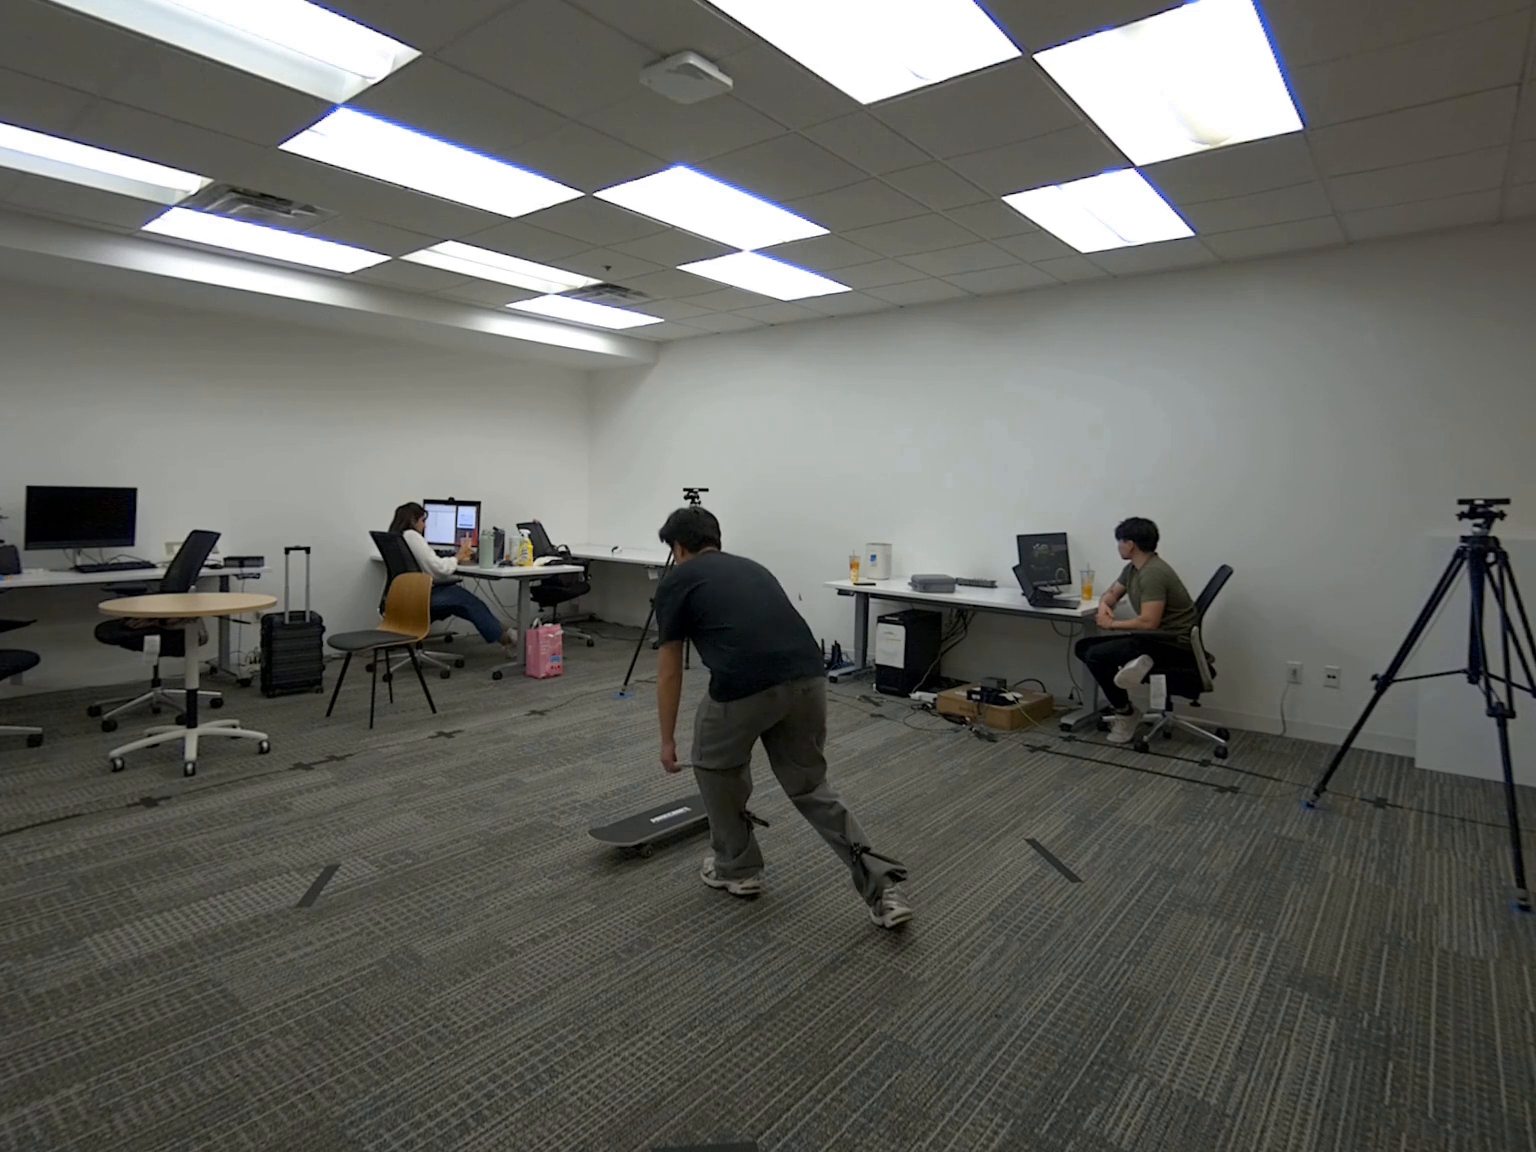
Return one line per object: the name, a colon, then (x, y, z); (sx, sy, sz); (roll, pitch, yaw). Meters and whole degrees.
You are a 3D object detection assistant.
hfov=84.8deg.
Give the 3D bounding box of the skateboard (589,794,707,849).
skateboard: (-0.393, 0.984, 3.397); (0.200, 0.110, 0.762); (5, 7, 41)
